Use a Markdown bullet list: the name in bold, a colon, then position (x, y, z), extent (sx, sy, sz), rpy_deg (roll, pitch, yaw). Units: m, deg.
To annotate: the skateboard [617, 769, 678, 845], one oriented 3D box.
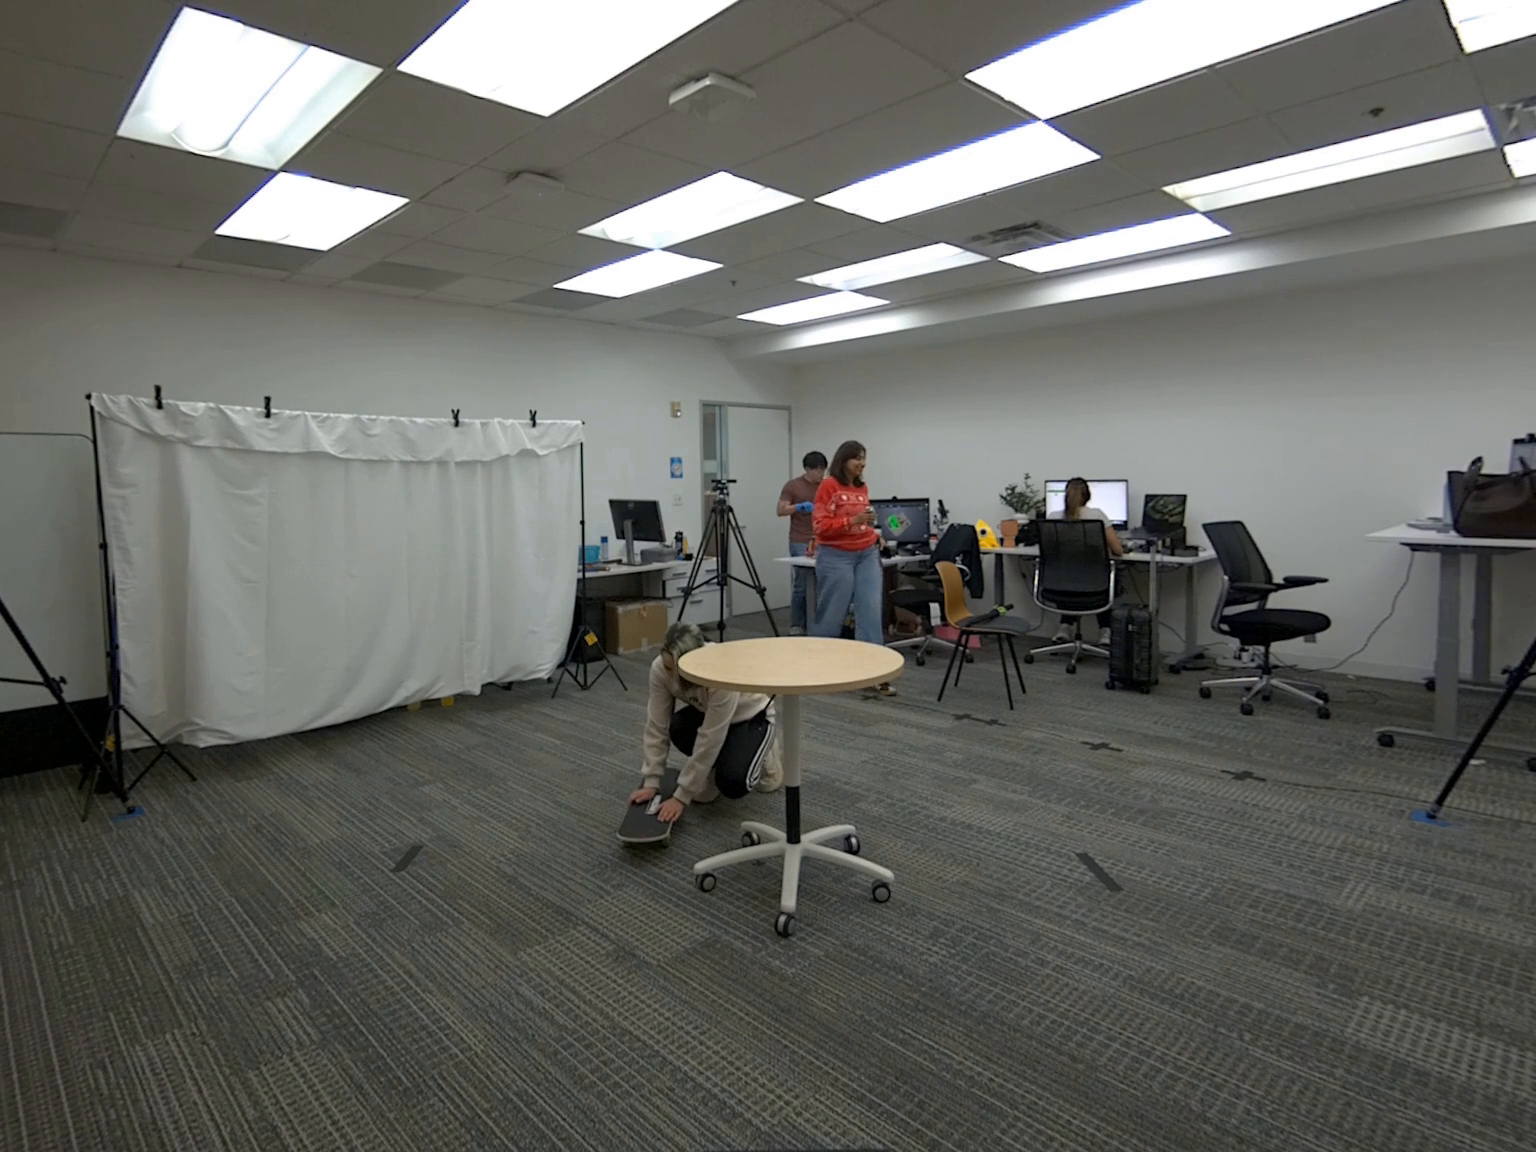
- **skateboard**: position (-0.458, 0.958, 3.468), extent (0.194, 0.110, 0.787), rpy_deg (0, 6, 1)
